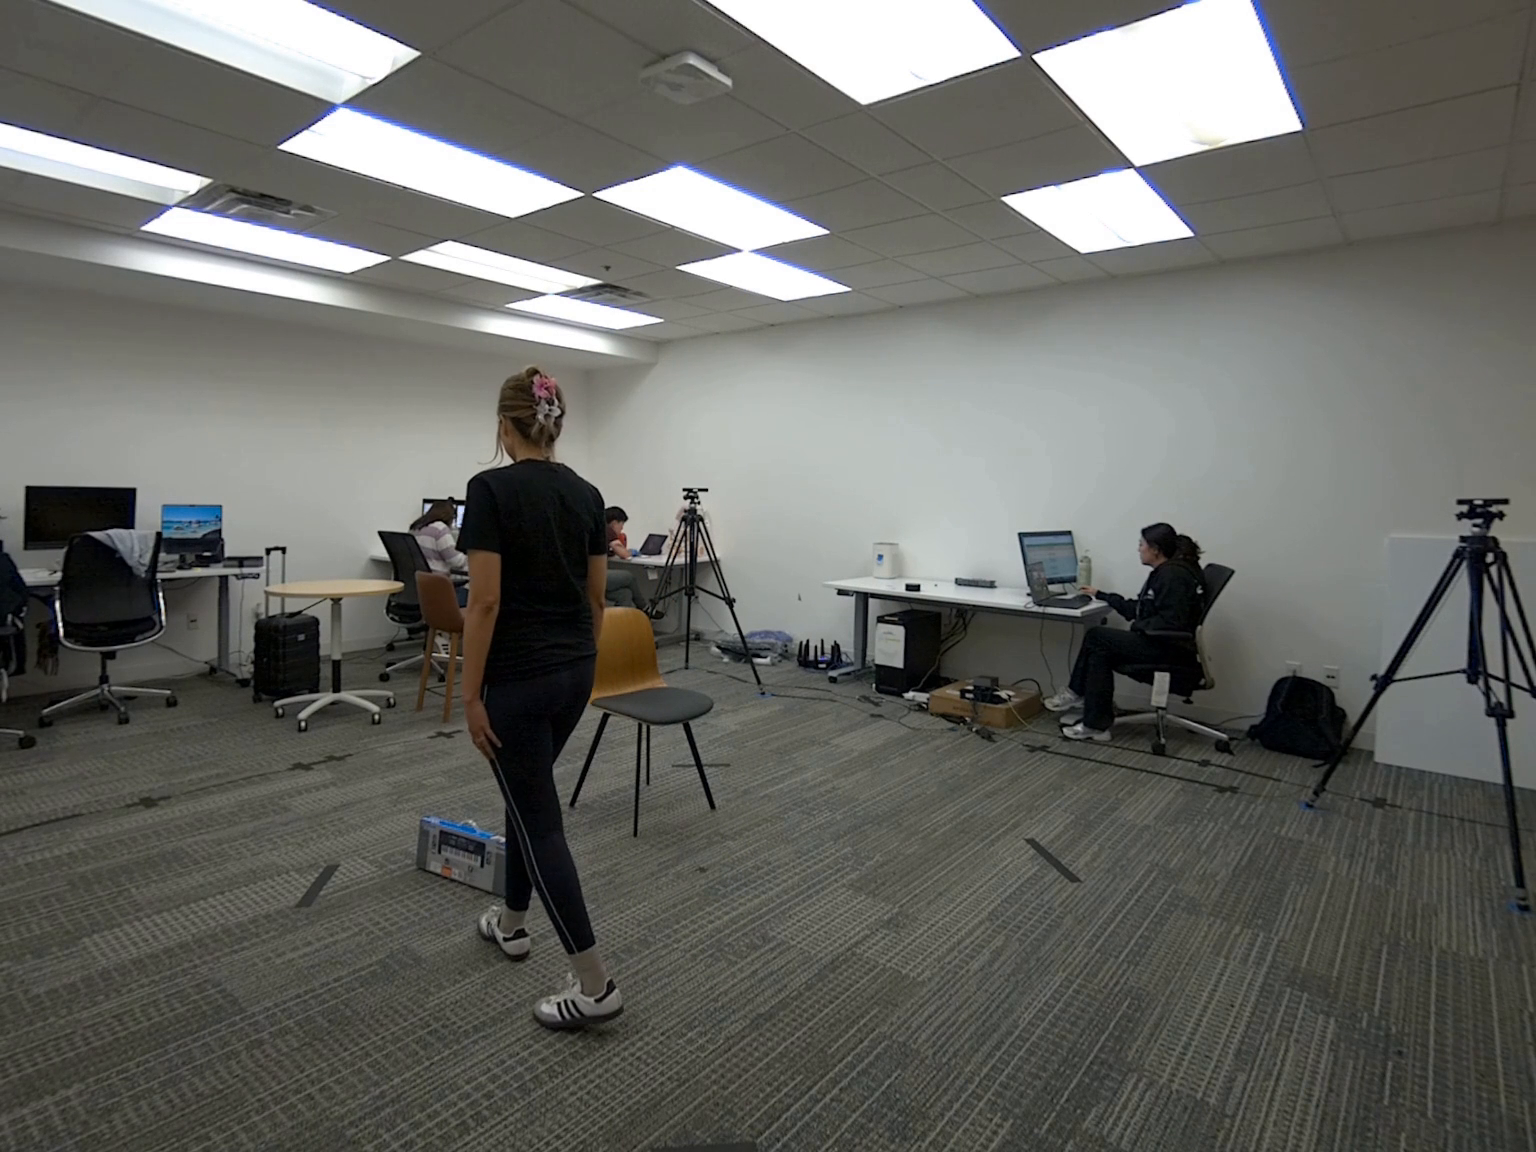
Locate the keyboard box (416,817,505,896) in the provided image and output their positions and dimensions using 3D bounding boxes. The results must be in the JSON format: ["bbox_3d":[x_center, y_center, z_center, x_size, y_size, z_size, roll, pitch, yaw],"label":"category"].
[{"bbox_3d":[-1.074,0.982,2.992,0.449,0.176,0.057,4,-2,29],"label":"keyboard box"}]
